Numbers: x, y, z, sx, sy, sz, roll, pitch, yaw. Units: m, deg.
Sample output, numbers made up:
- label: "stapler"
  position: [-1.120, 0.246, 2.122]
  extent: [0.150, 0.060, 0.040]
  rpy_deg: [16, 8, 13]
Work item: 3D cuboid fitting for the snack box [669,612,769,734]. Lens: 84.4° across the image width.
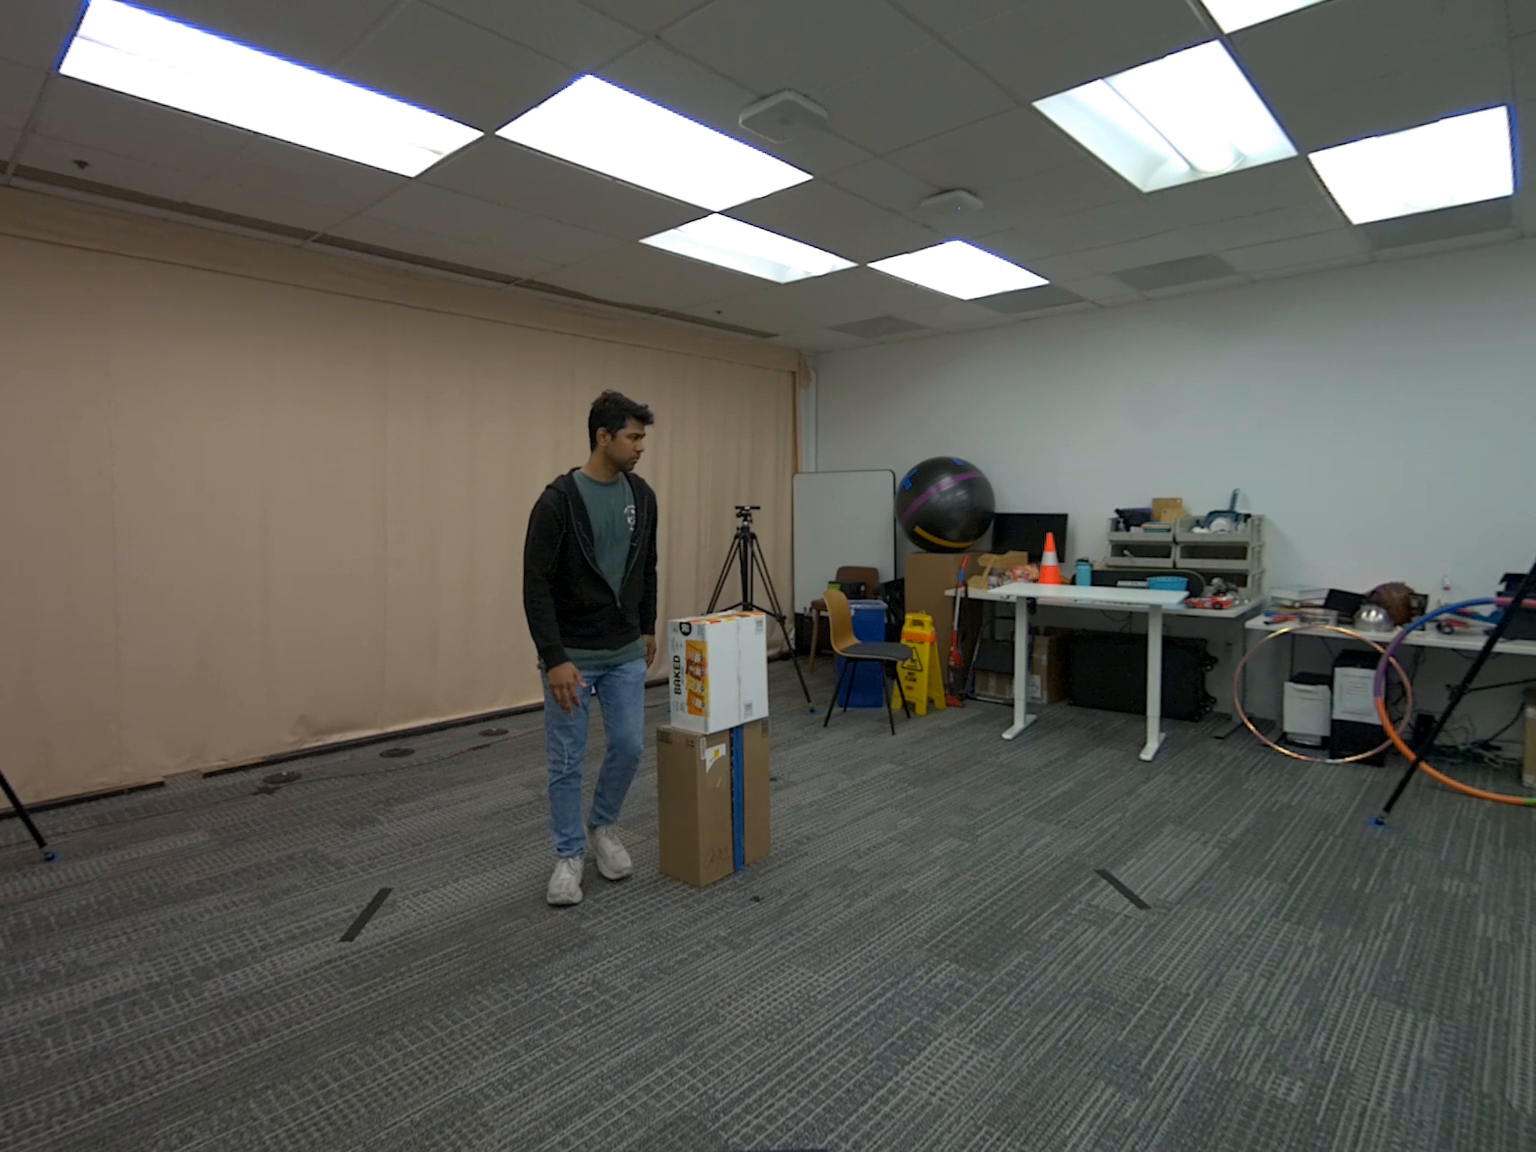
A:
- label: "snack box"
  position: [-0.184, 0.356, 3.217]
  extent: [0.212, 0.404, 0.330]
  rpy_deg: [0, 3, 42]
